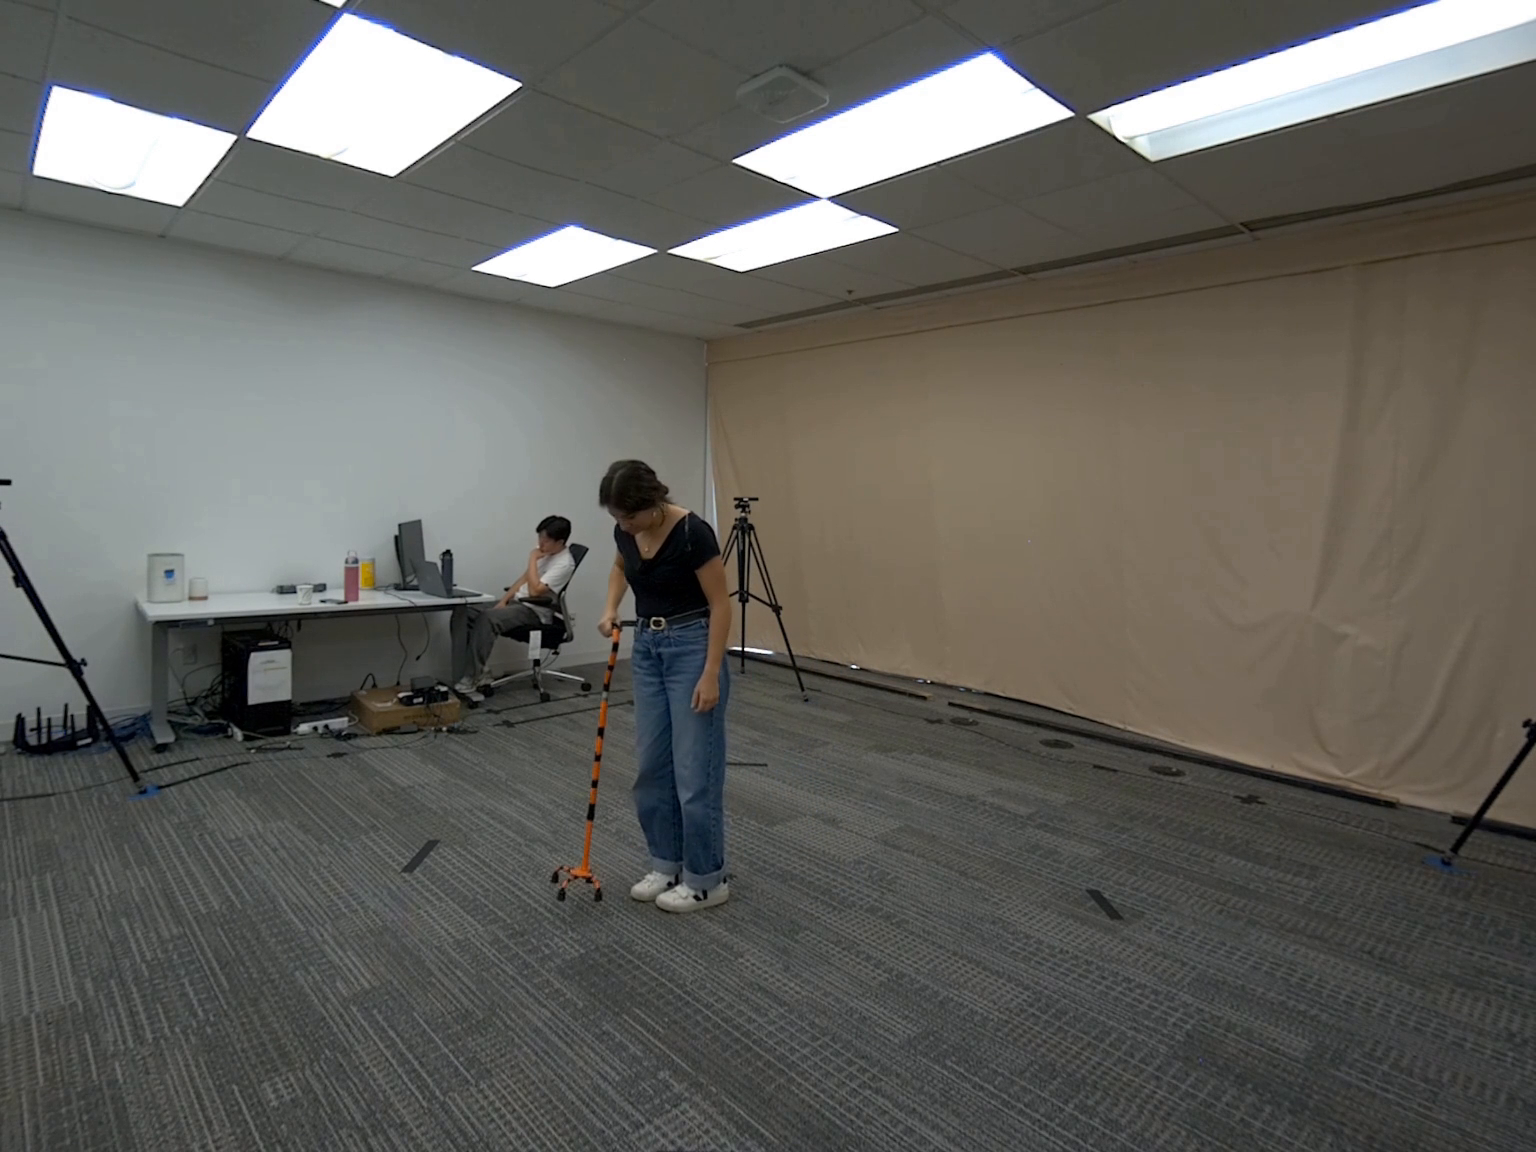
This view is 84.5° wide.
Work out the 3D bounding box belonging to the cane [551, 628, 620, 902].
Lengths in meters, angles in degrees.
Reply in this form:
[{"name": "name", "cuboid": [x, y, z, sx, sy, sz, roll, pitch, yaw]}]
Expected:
[{"name": "cane", "cuboid": [-0.600, 0.622, 2.896, 0.149, 0.911, 0.209, 7, -5, -21]}]
